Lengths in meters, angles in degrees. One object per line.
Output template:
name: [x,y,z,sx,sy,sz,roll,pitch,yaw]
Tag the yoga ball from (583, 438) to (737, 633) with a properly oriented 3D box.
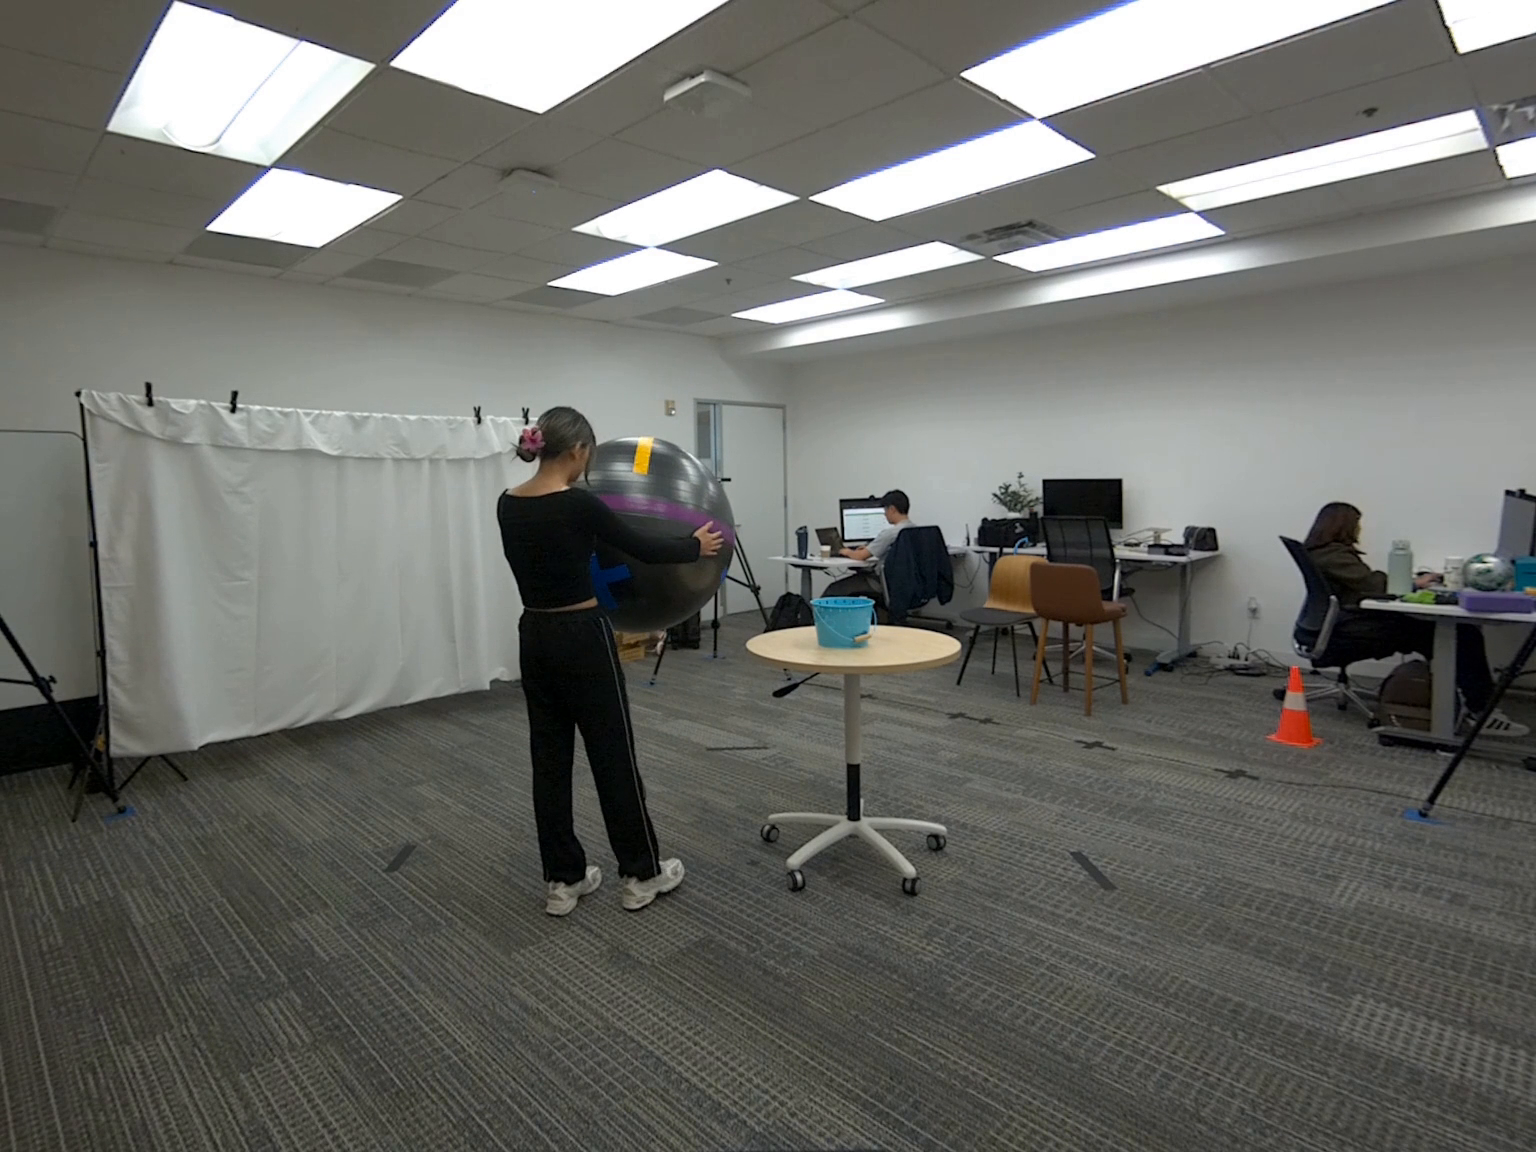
yoga ball: [-0.522,-0.154,3.333,0.757,0.755,0.762,-1,5,-2]
